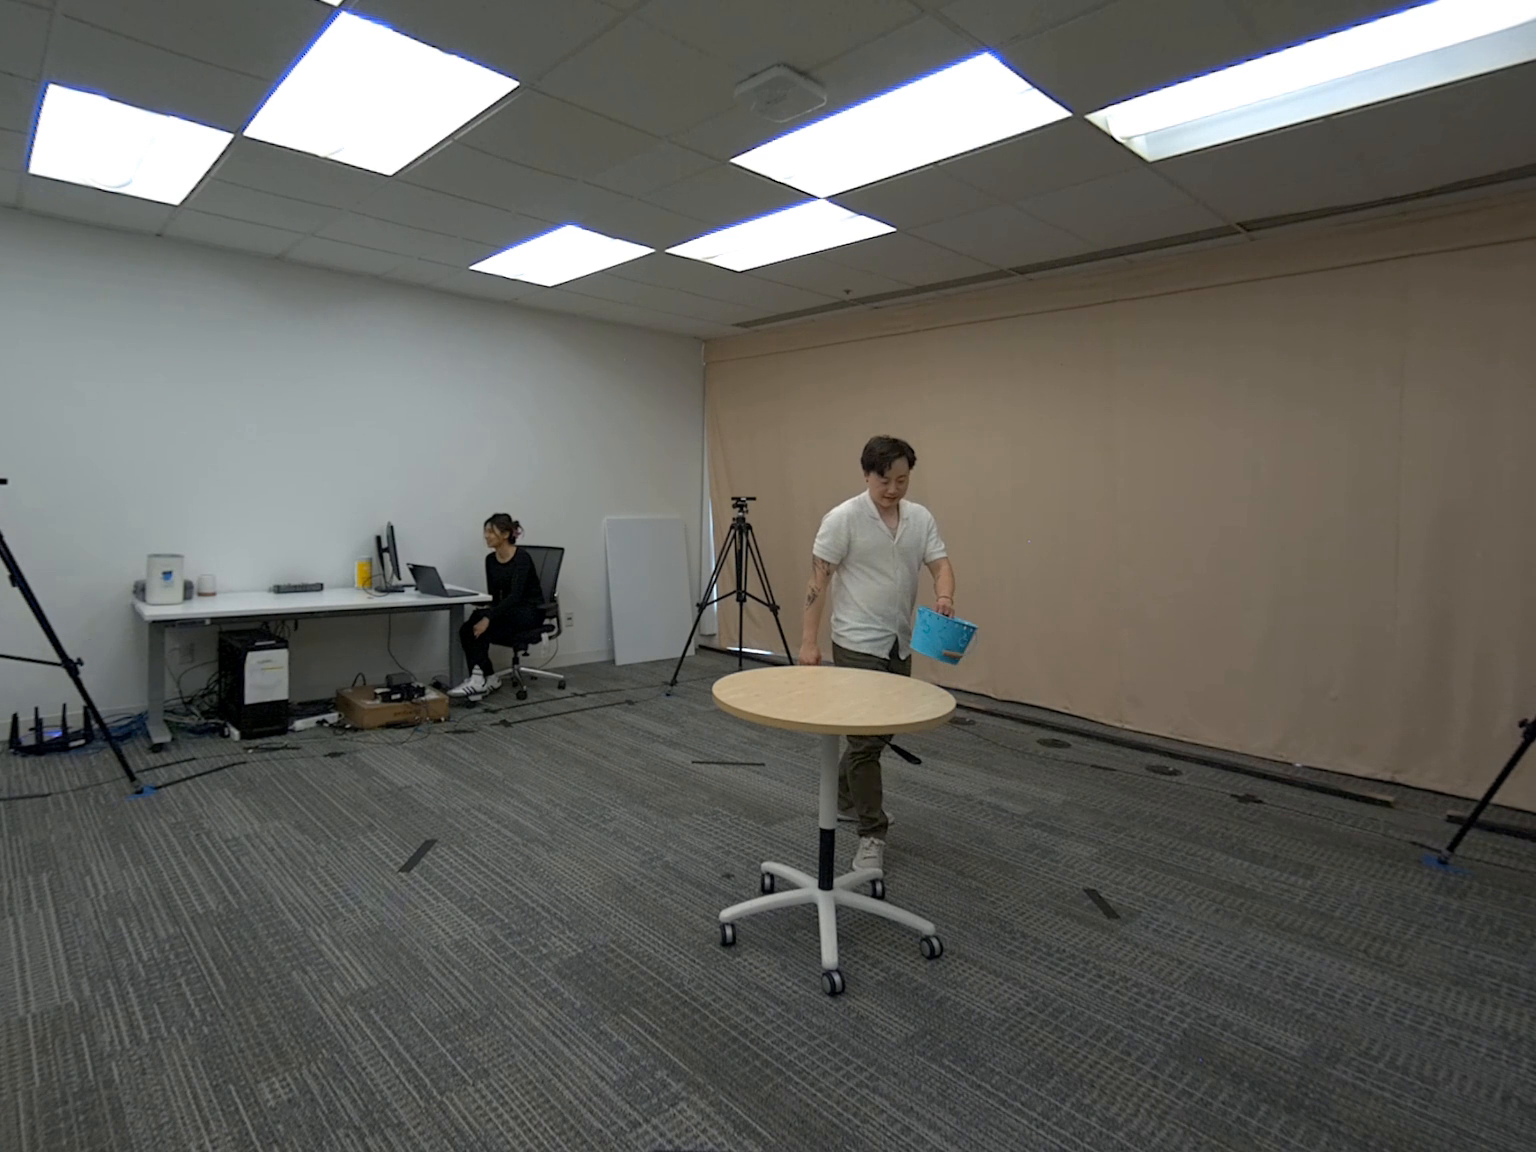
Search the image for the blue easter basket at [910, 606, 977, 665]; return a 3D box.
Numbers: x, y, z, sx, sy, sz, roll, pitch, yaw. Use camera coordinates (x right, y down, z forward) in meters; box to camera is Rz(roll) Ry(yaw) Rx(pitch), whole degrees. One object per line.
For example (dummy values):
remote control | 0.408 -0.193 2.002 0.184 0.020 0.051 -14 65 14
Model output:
blue easter basket | 0.616 0.222 3.028 0.243 0.156 0.244 19 3 -2
